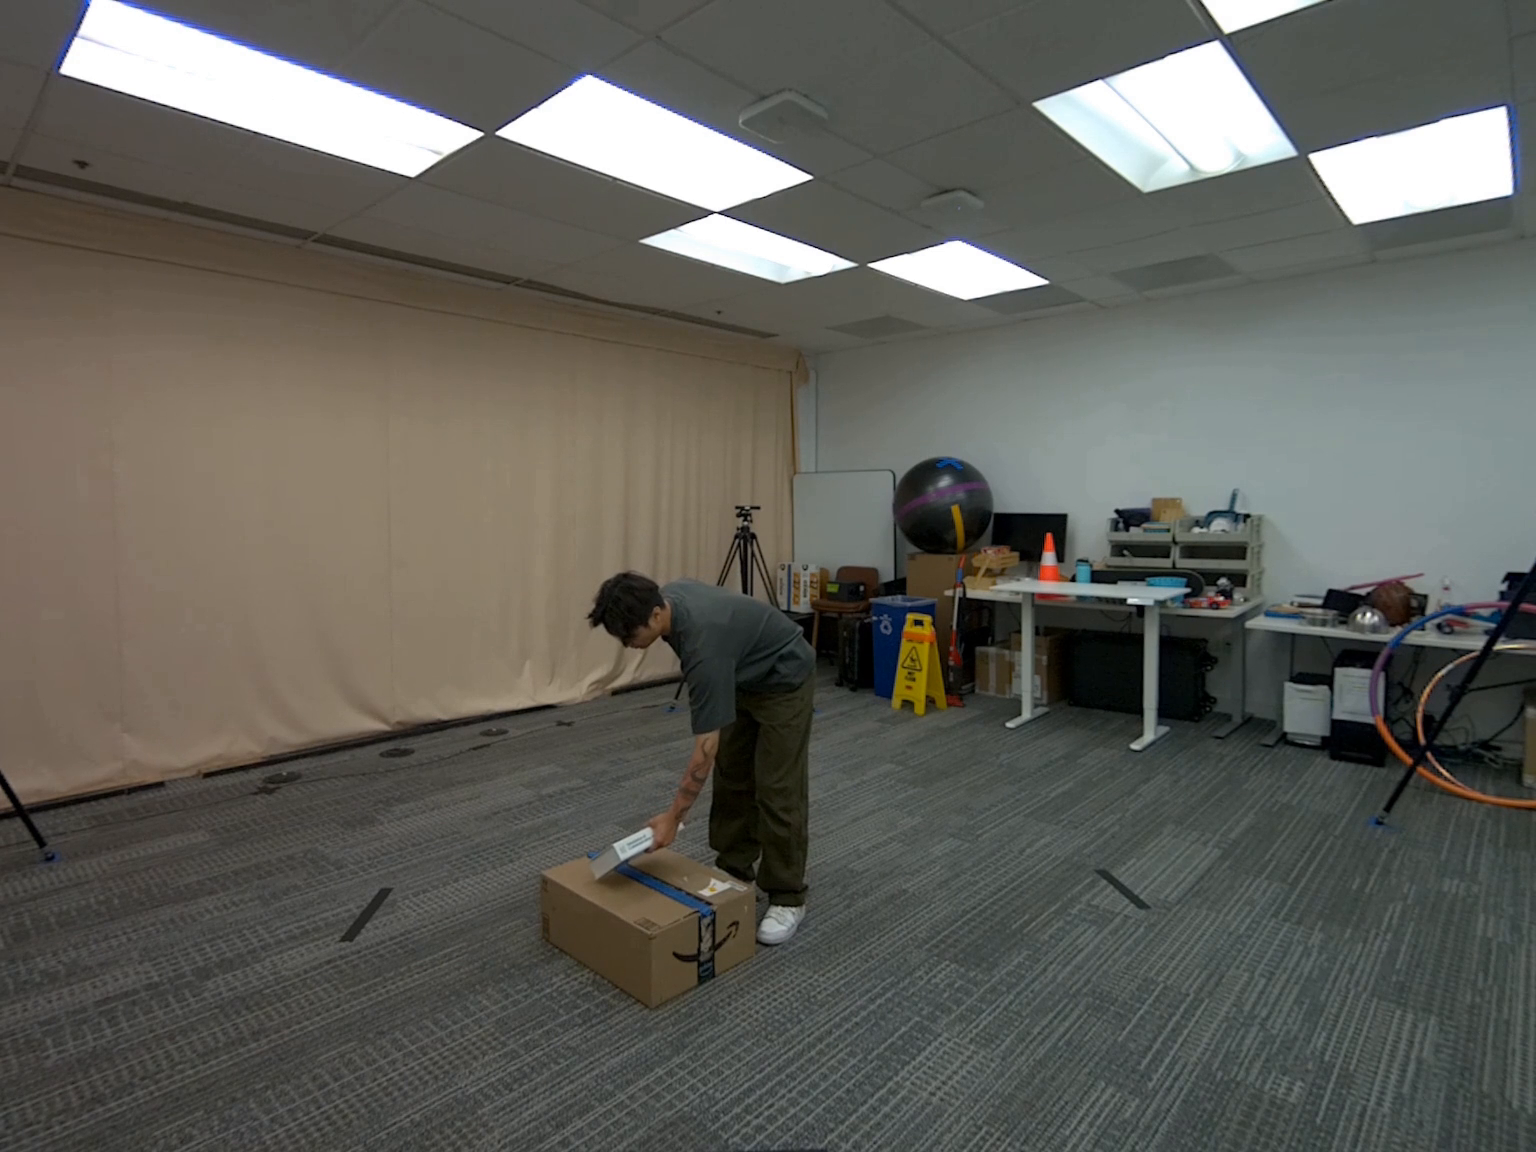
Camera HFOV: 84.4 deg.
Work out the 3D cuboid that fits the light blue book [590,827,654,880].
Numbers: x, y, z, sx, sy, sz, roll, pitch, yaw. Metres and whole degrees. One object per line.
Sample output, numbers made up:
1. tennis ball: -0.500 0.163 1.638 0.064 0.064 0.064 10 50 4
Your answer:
1. light blue book: -0.419 0.858 2.680 0.254 0.060 0.193 -13 -22 -46
